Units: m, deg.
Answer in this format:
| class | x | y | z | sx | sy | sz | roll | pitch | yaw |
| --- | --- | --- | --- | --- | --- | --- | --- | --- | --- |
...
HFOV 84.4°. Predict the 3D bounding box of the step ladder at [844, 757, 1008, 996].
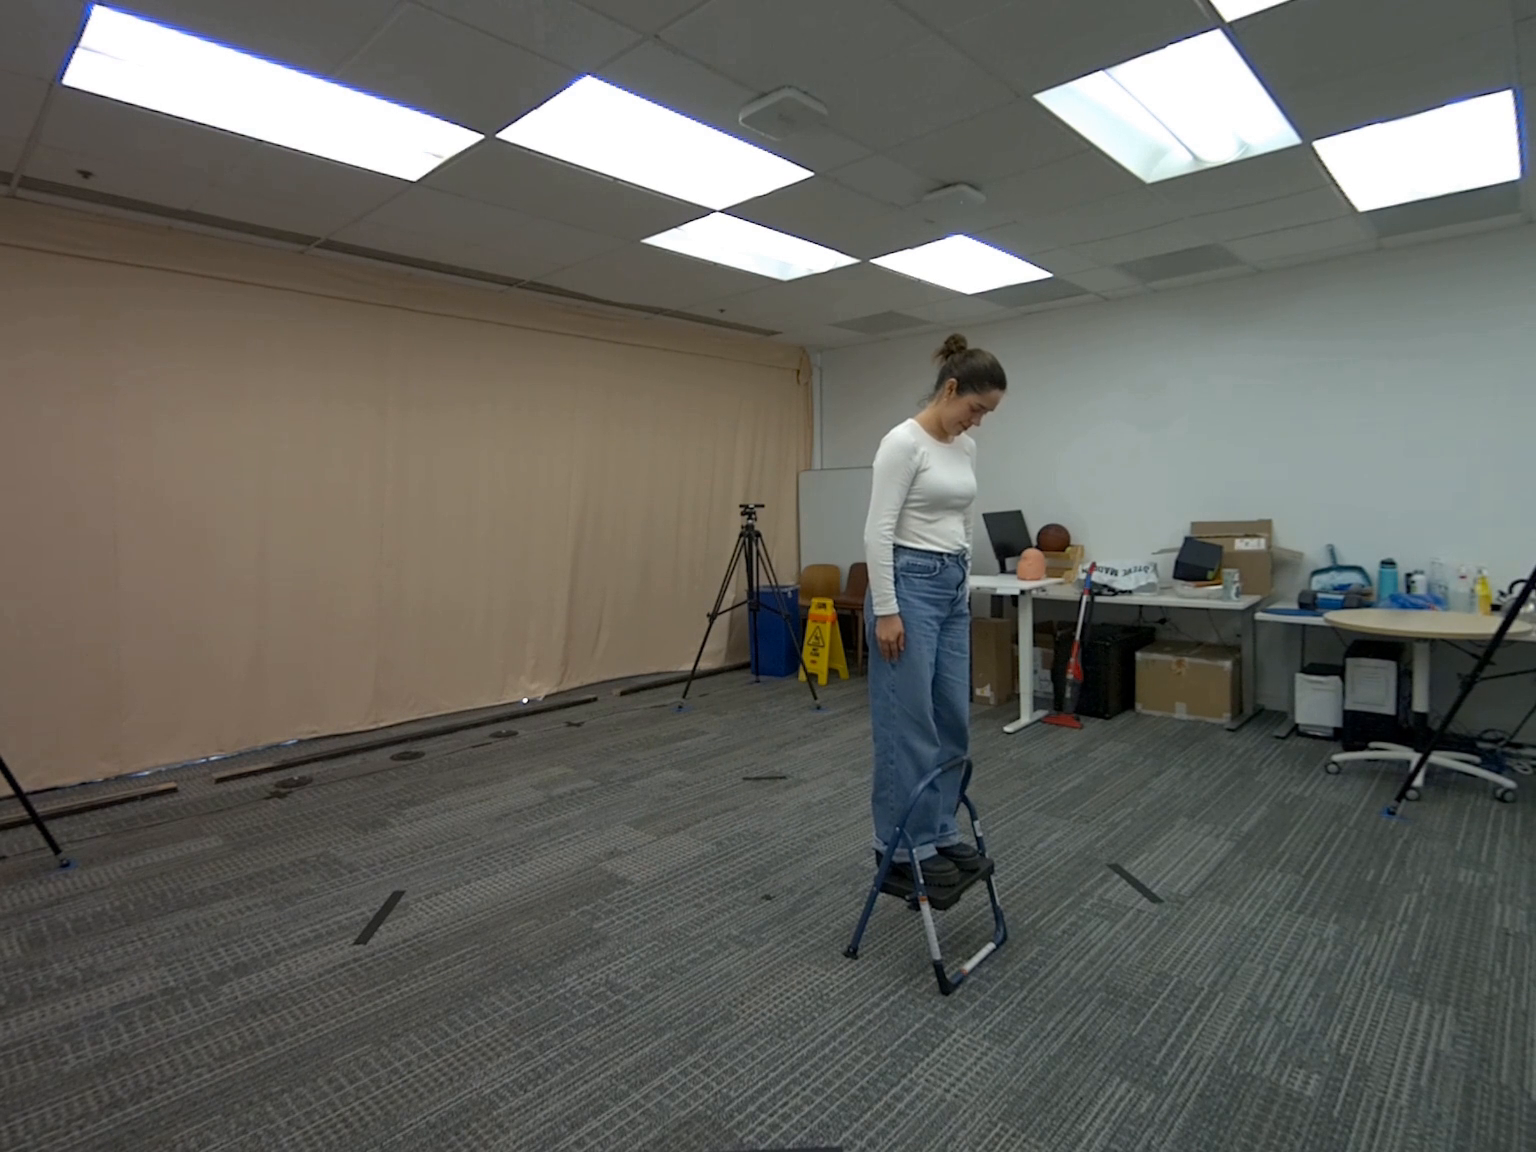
| class | x | y | z | sx | sy | sz | roll | pitch | yaw |
| --- | --- | --- | --- | --- | --- | --- | --- | --- | --- |
| step ladder | 0.500 | 0.862 | 2.612 | 0.361 | 0.604 | 0.418 | 3 | 5 | 40 |
